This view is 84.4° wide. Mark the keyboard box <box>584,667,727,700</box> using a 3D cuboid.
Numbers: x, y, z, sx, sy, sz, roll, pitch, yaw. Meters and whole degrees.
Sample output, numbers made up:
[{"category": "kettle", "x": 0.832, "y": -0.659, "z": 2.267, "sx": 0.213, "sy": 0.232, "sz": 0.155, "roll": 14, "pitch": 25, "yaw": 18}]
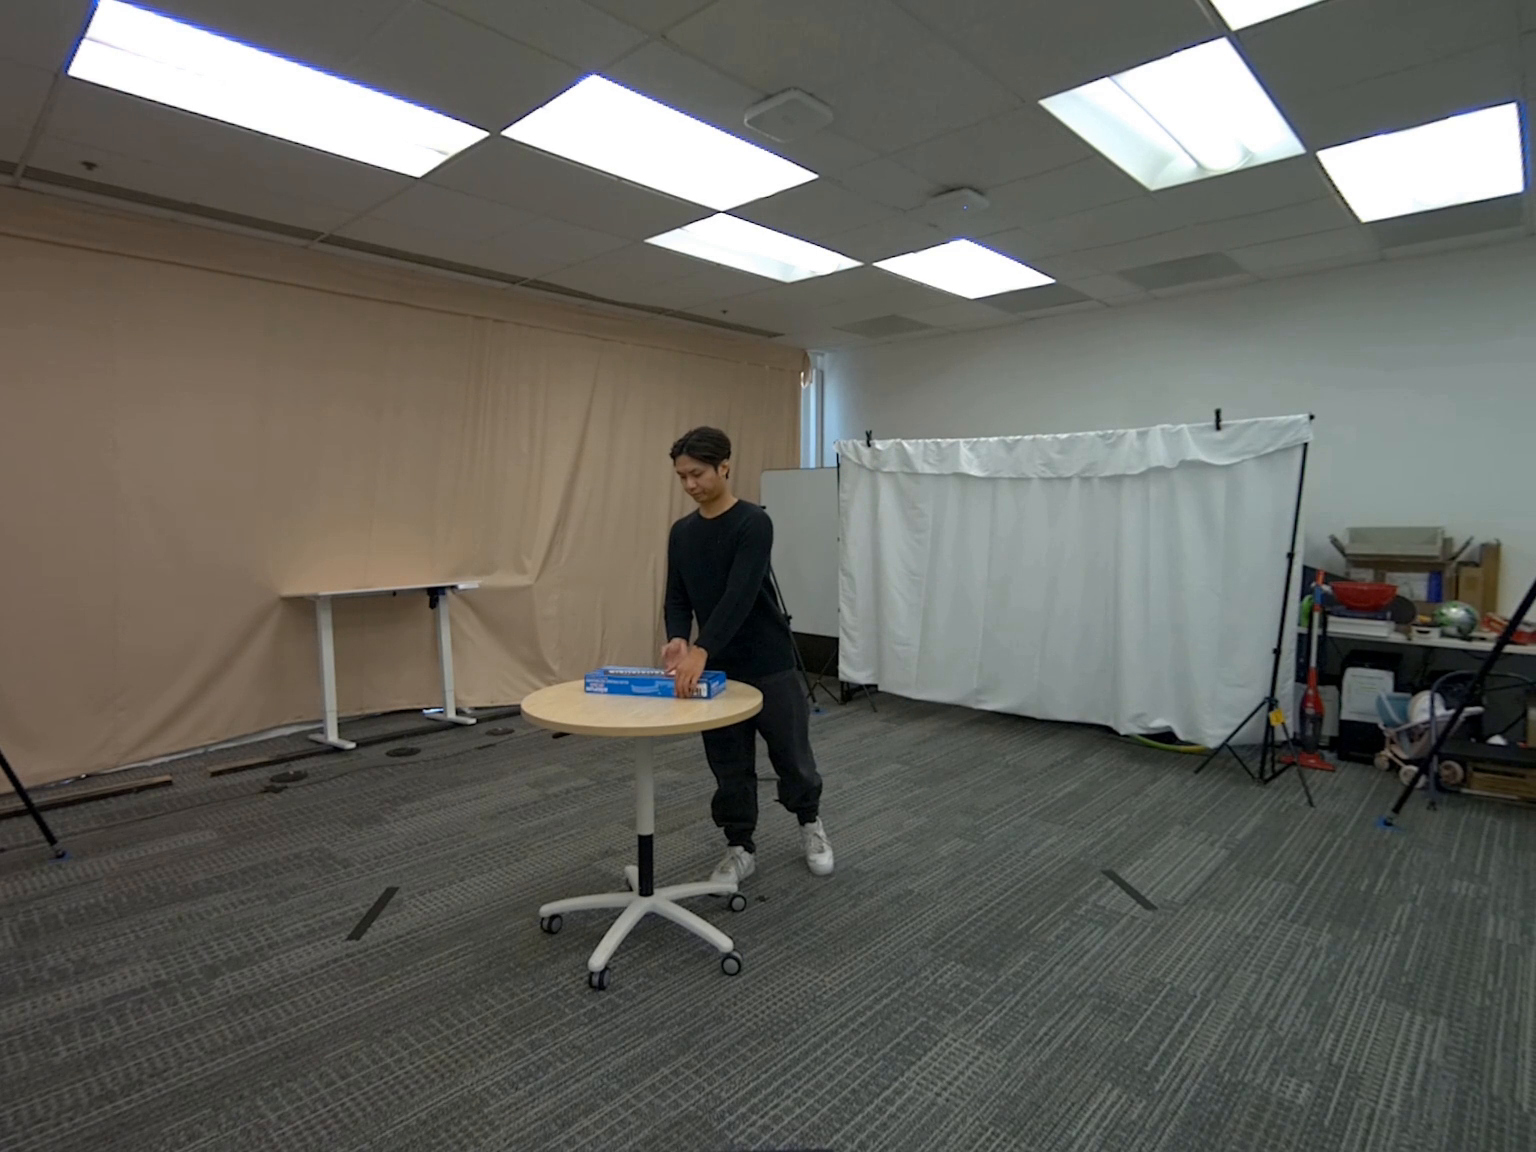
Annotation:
[{"category": "keyboard box", "x": -0.368, "y": 0.348, "z": 2.791, "sx": 0.444, "sy": 0.059, "sz": 0.173, "roll": 1, "pitch": 4, "yaw": 14}]
